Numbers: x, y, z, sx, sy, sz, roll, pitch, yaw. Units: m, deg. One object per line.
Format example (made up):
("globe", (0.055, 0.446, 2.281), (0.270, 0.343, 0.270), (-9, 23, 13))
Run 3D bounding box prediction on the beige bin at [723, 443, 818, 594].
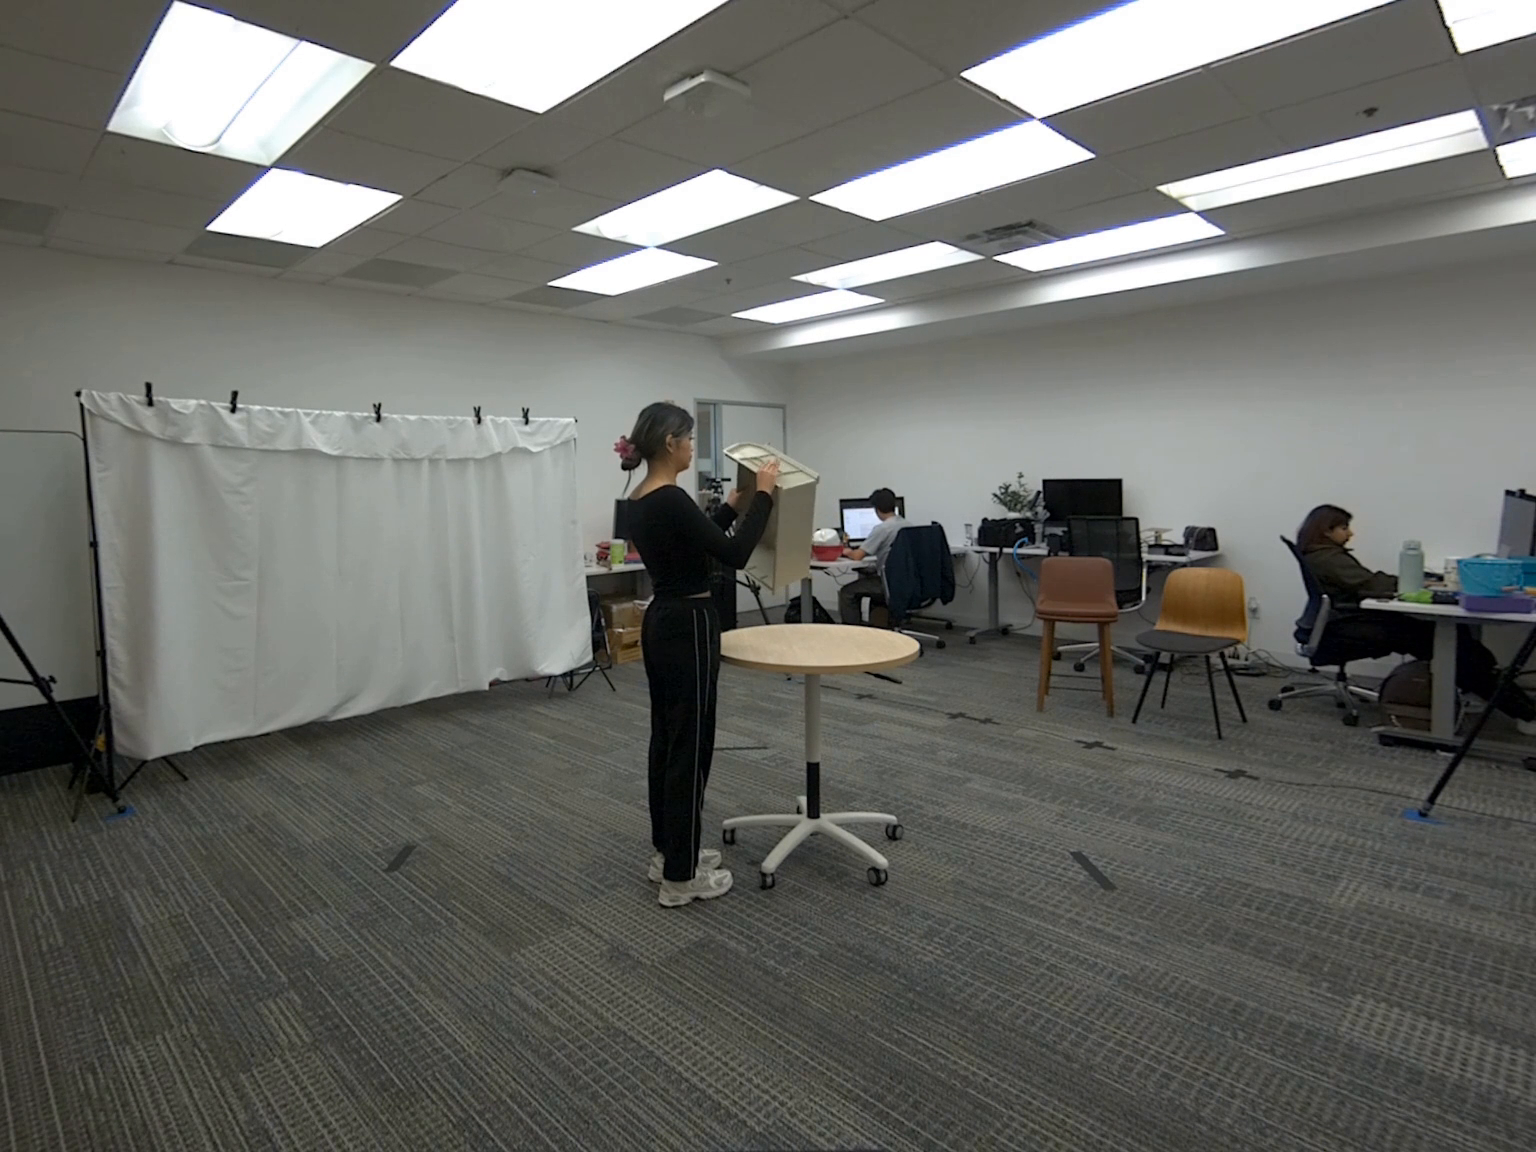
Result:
("beige bin", (-0.014, -0.221, 3.059), (0.185, 0.413, 0.392), (-17, 34, -33))
